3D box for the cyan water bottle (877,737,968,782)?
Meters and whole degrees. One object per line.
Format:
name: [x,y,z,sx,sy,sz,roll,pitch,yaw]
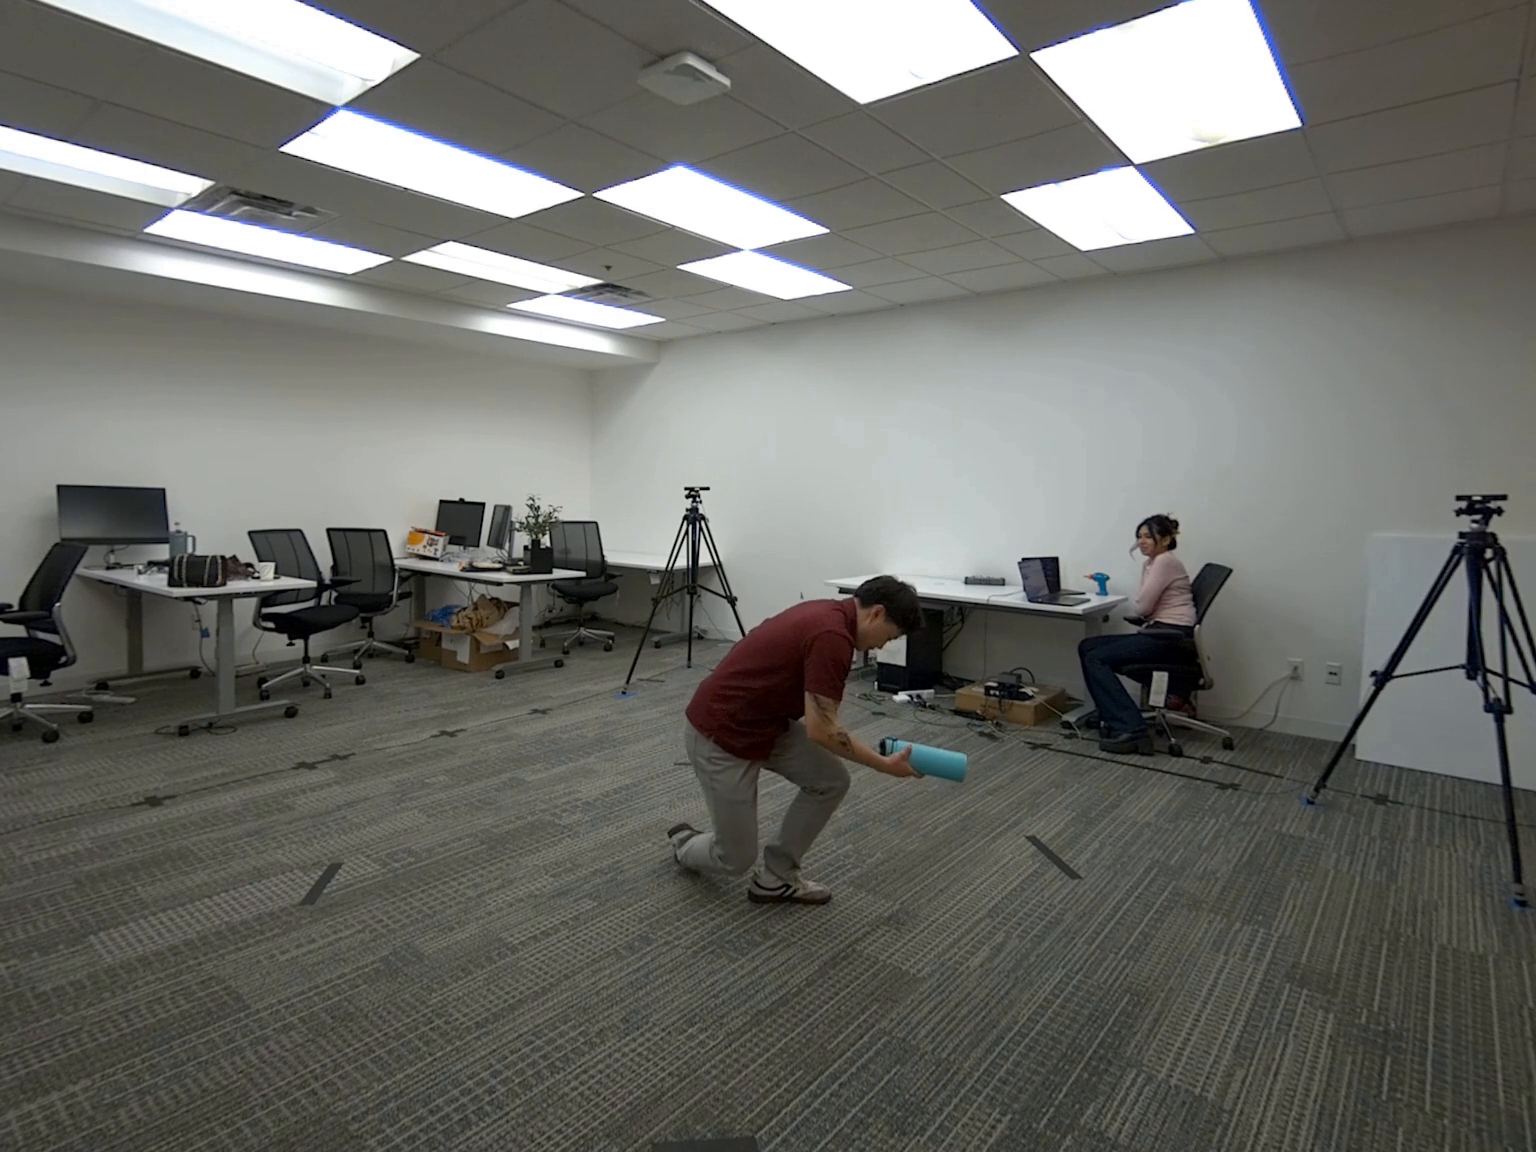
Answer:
cyan water bottle: [0.480,0.581,2.727,0.287,0.092,0.091,10,6,12]
